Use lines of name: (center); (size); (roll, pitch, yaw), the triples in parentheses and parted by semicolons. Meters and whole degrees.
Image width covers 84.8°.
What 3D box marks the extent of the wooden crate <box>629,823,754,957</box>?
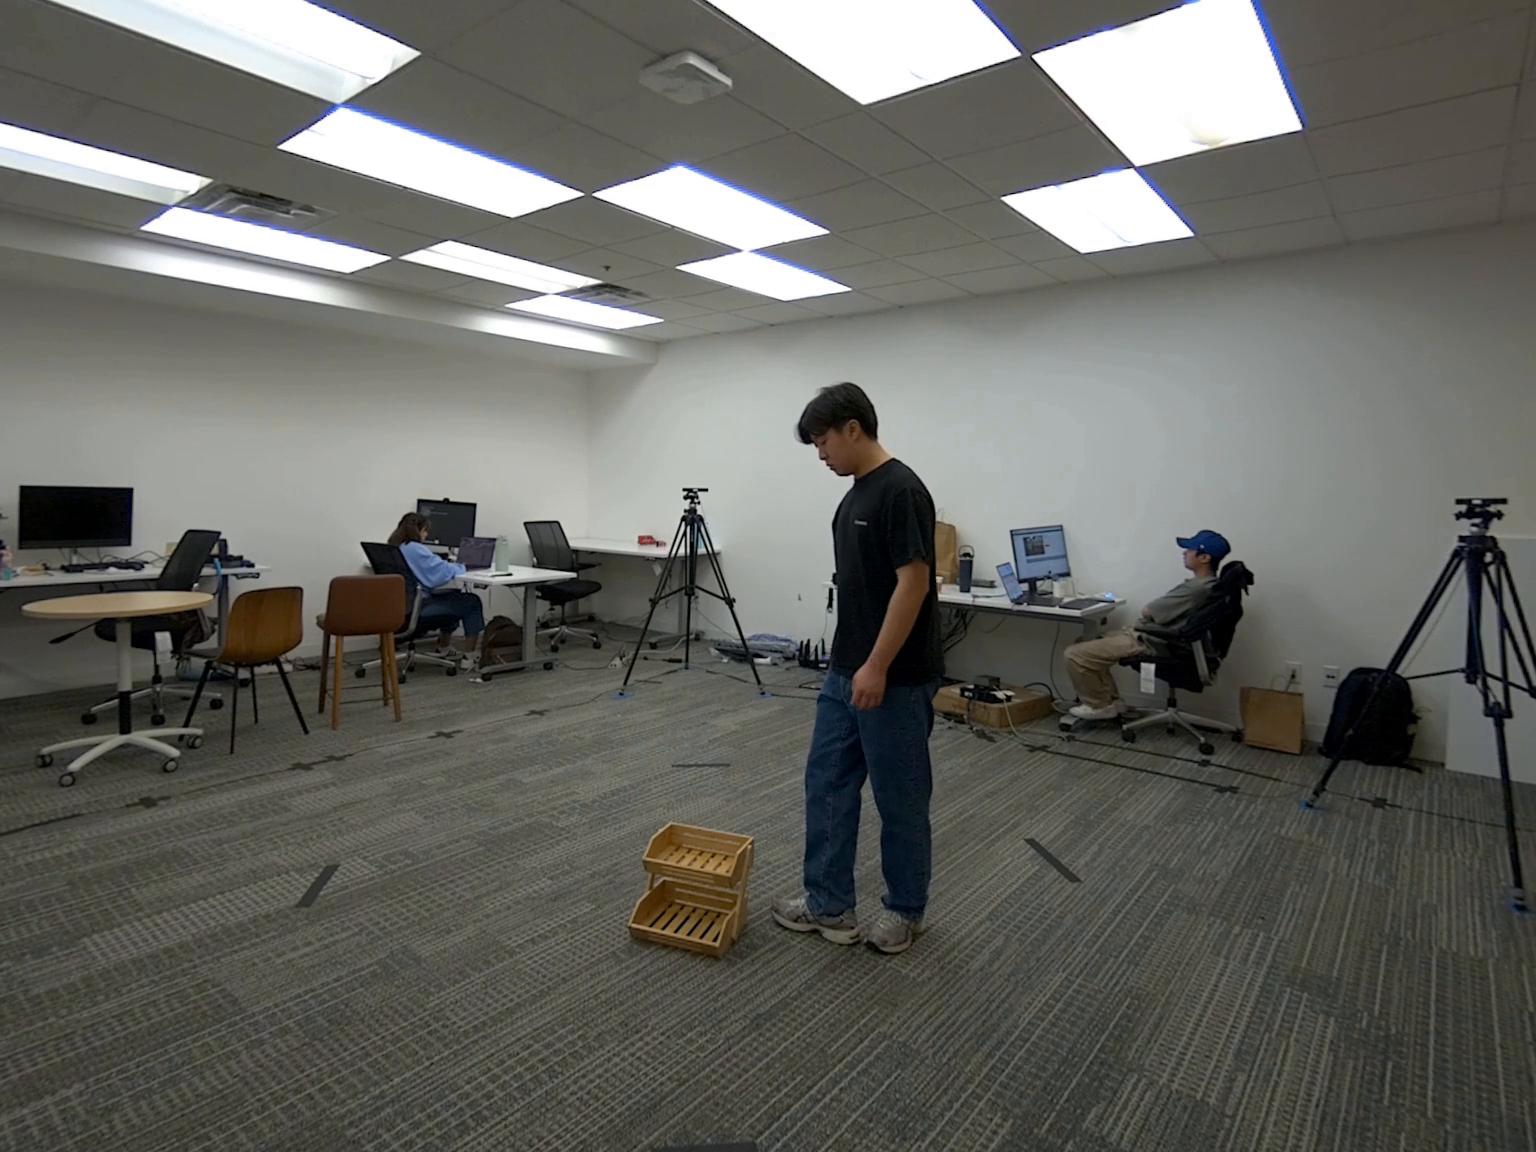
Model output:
wooden crate: (-0.242, 0.973, 2.682); (0.331, 0.273, 0.296); (2, 4, 20)
